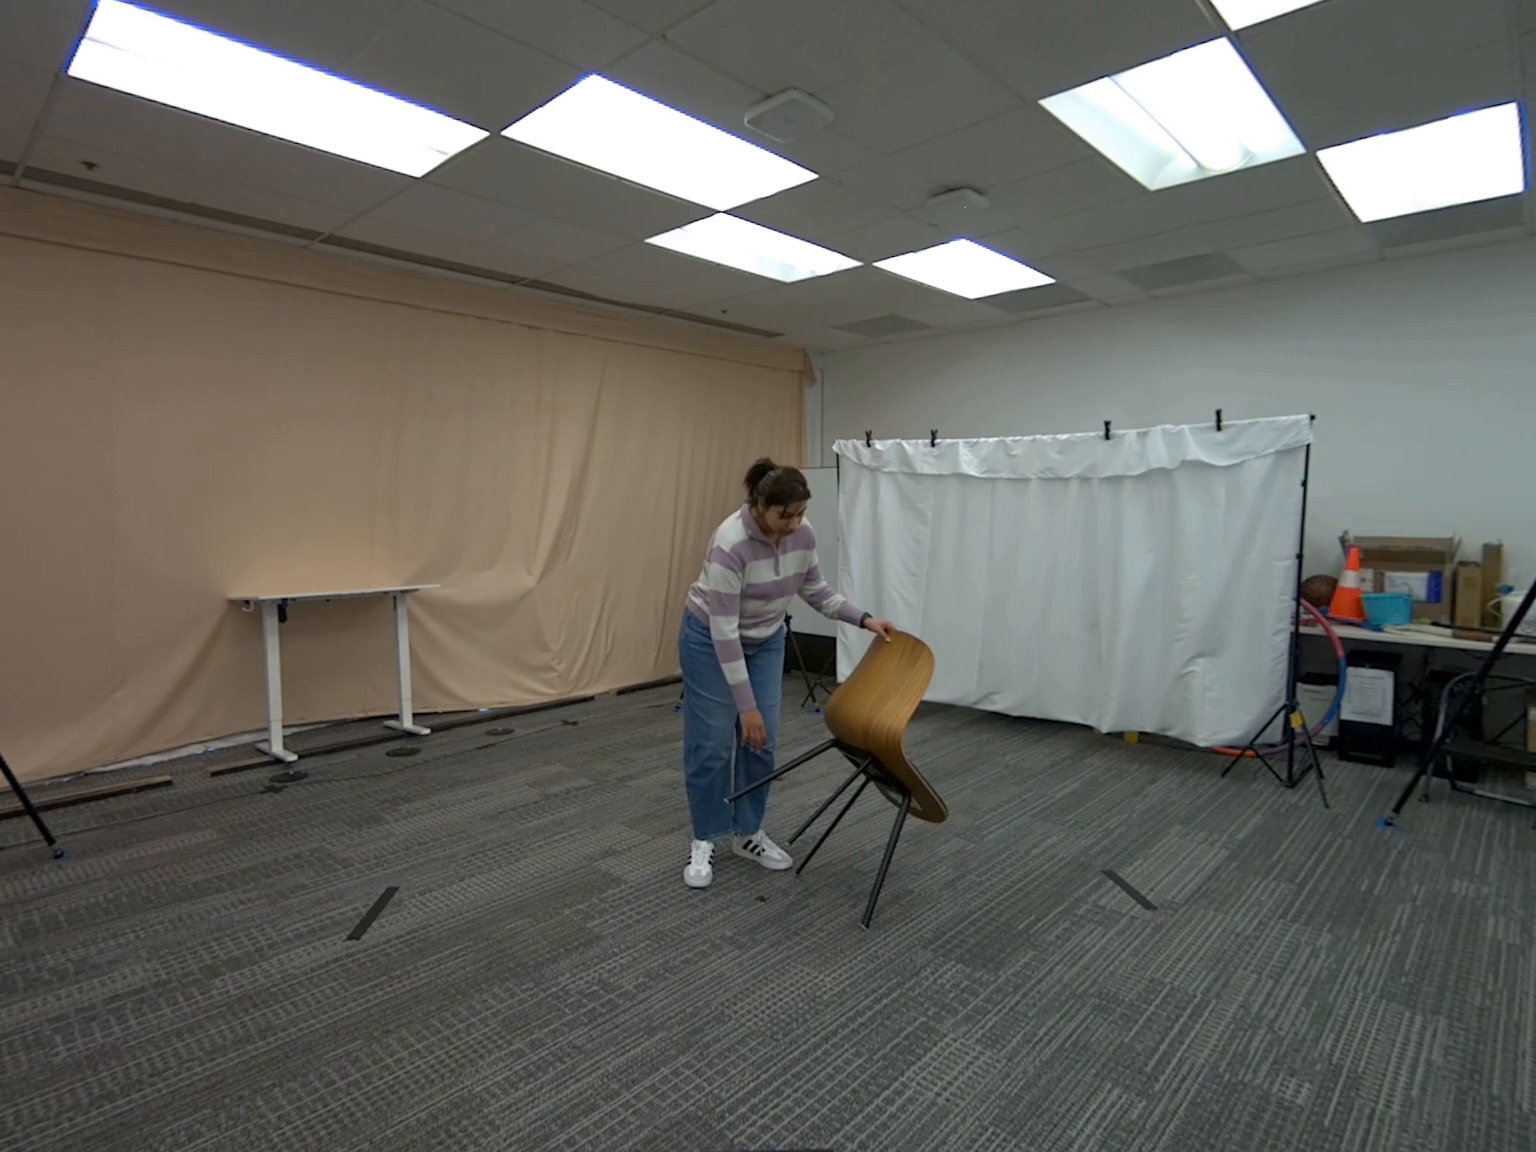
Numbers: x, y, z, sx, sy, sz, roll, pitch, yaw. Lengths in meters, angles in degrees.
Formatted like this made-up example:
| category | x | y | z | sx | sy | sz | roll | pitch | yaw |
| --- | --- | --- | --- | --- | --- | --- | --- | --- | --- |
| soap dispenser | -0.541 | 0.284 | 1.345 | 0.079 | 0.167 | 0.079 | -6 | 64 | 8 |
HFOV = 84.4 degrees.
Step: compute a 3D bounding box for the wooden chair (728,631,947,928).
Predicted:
| category | x | y | z | sx | sy | sz | roll | pitch | yaw |
| --- | --- | --- | --- | --- | --- | --- | --- | --- | --- |
| wooden chair | 0.371 | 0.691 | 3.014 | 0.511 | 0.874 | 0.491 | 46 | -18 | -22 |
